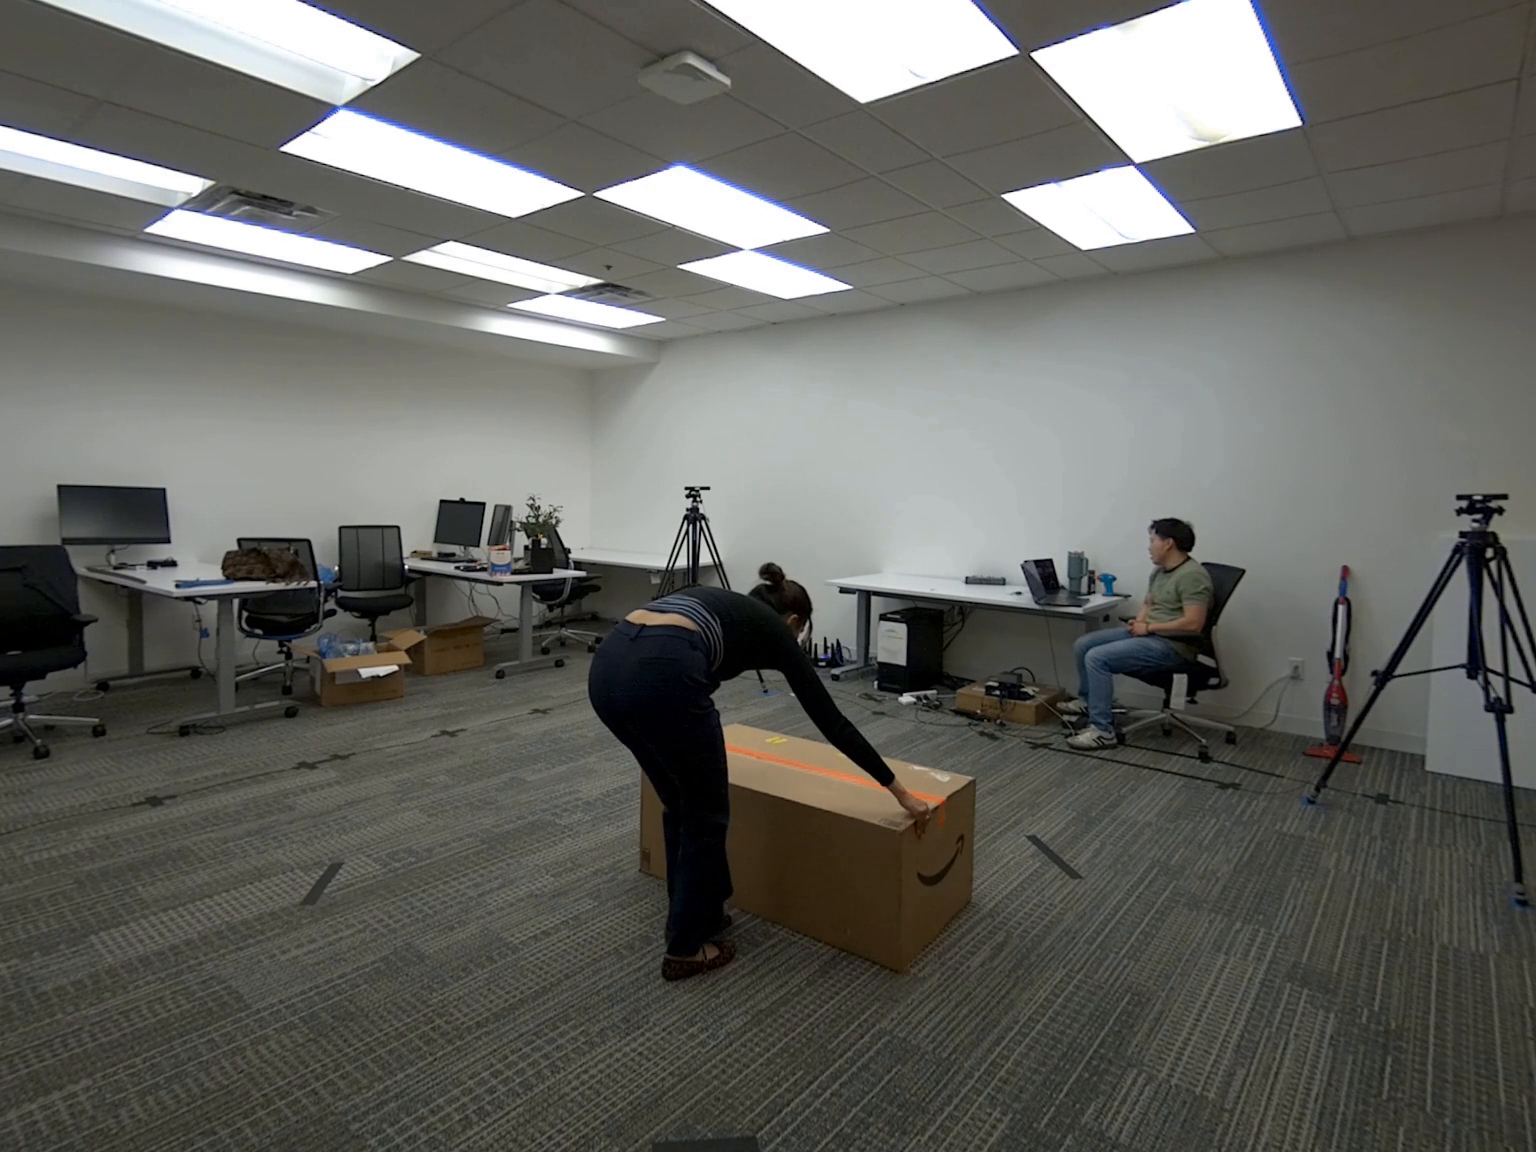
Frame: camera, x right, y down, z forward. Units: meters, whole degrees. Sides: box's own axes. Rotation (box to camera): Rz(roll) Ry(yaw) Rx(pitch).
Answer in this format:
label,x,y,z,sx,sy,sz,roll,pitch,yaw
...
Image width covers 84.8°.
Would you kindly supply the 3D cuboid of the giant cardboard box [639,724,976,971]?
label,x,y,z,sx,sy,sz,roll,pitch,yaw
giant cardboard box,0.114,0.869,2.975,1.059,0.425,0.561,5,6,36
